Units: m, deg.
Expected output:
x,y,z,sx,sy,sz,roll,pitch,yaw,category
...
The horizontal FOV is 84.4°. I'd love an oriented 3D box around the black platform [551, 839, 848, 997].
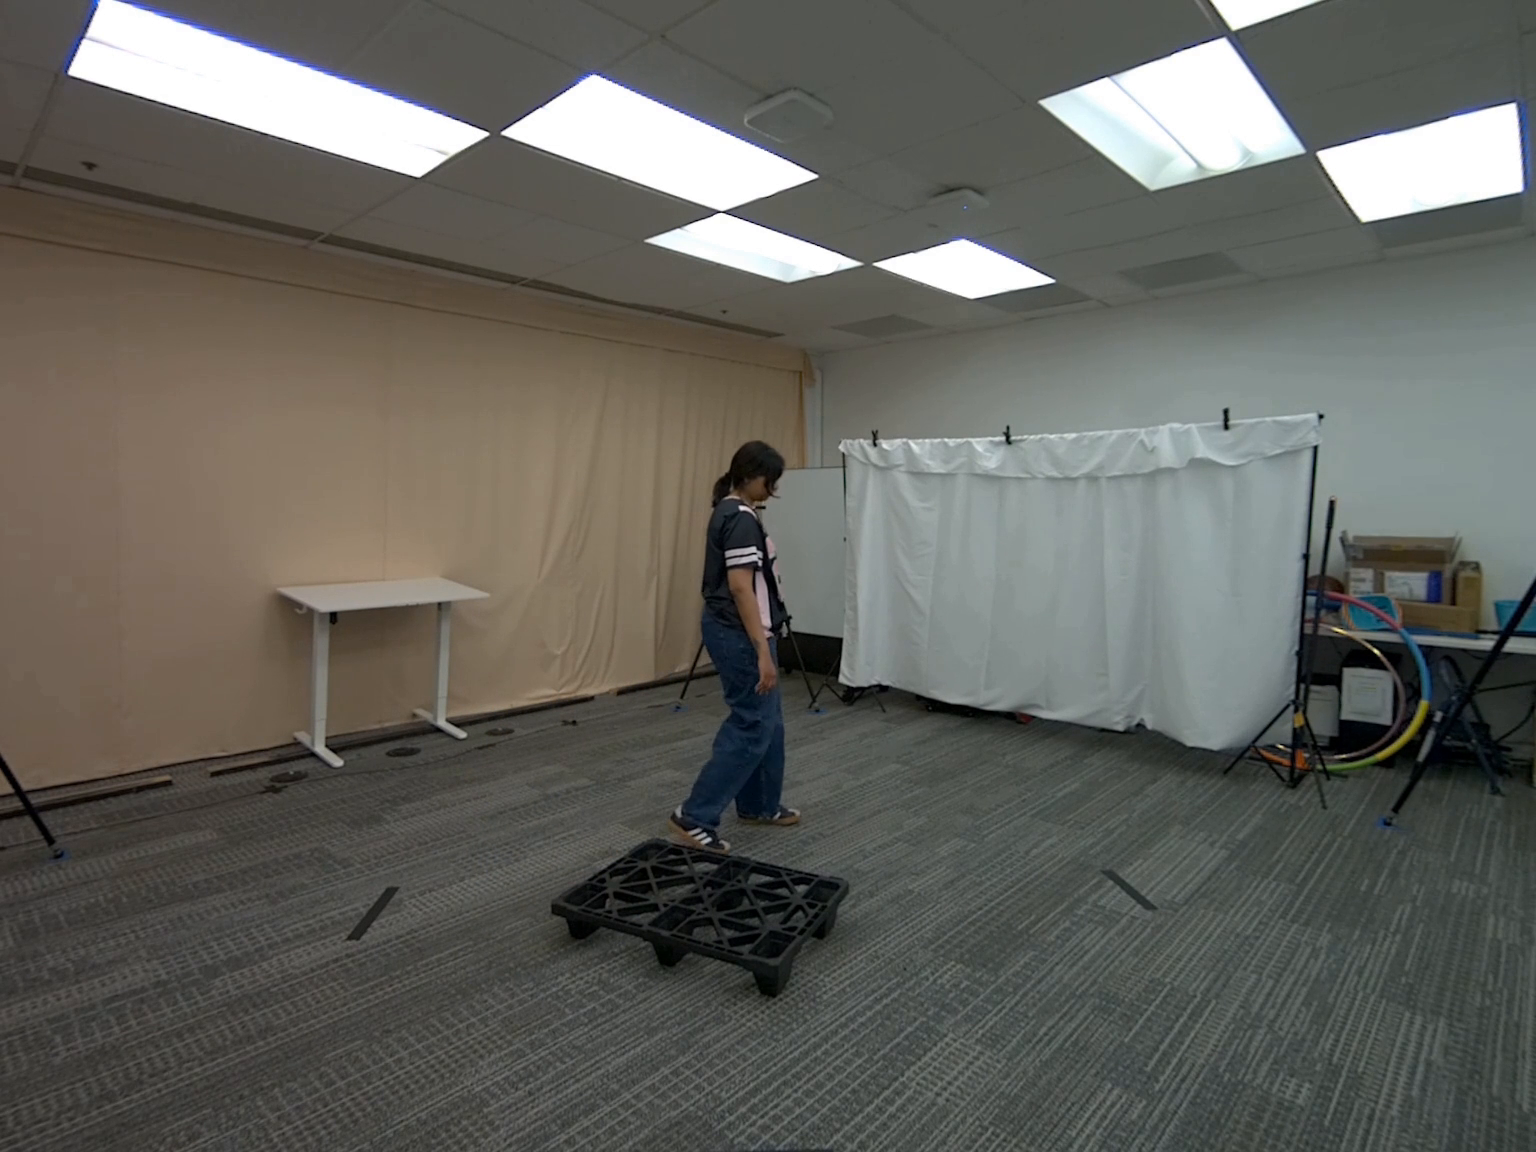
x,y,z,sx,sy,sz,roll,pitch,yaw,category
-0.207,1.097,2.748,0.827,0.143,0.591,2,6,27,black platform
